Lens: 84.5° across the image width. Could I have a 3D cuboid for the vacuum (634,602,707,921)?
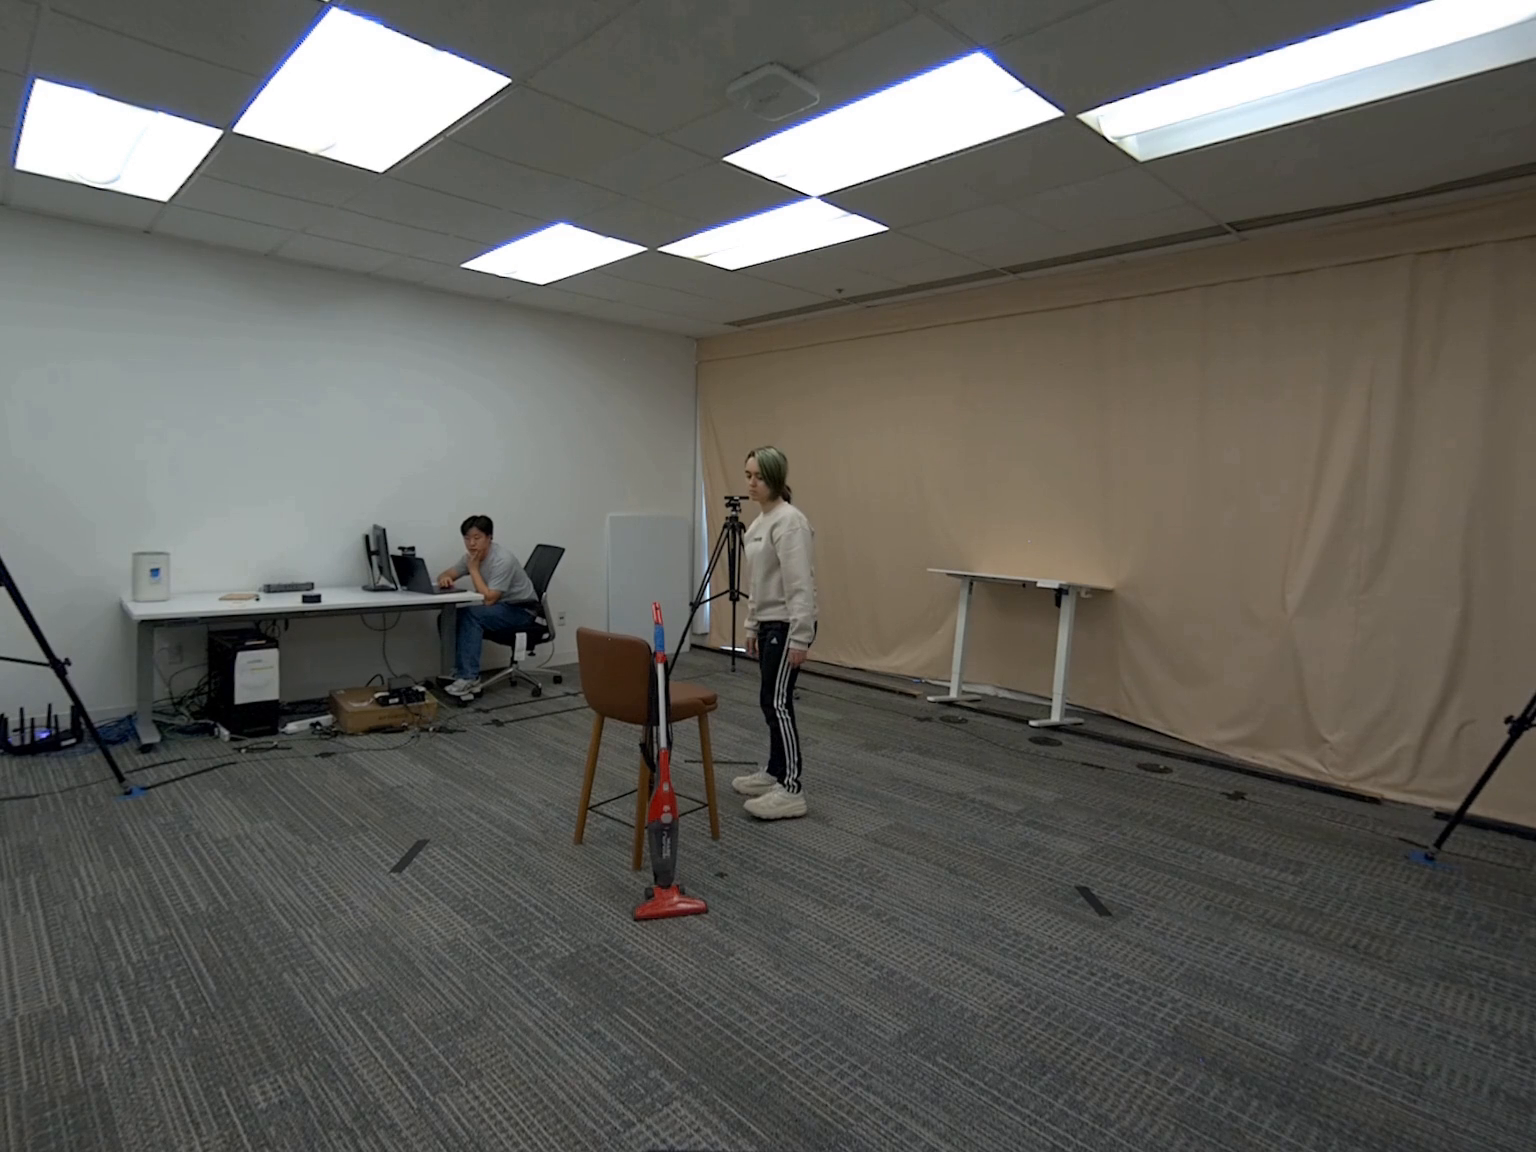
[{"bbox_3d":[-0.388,0.617,2.993,0.249,1.063,0.144,0,-17,-16],"label":"vacuum"}]
